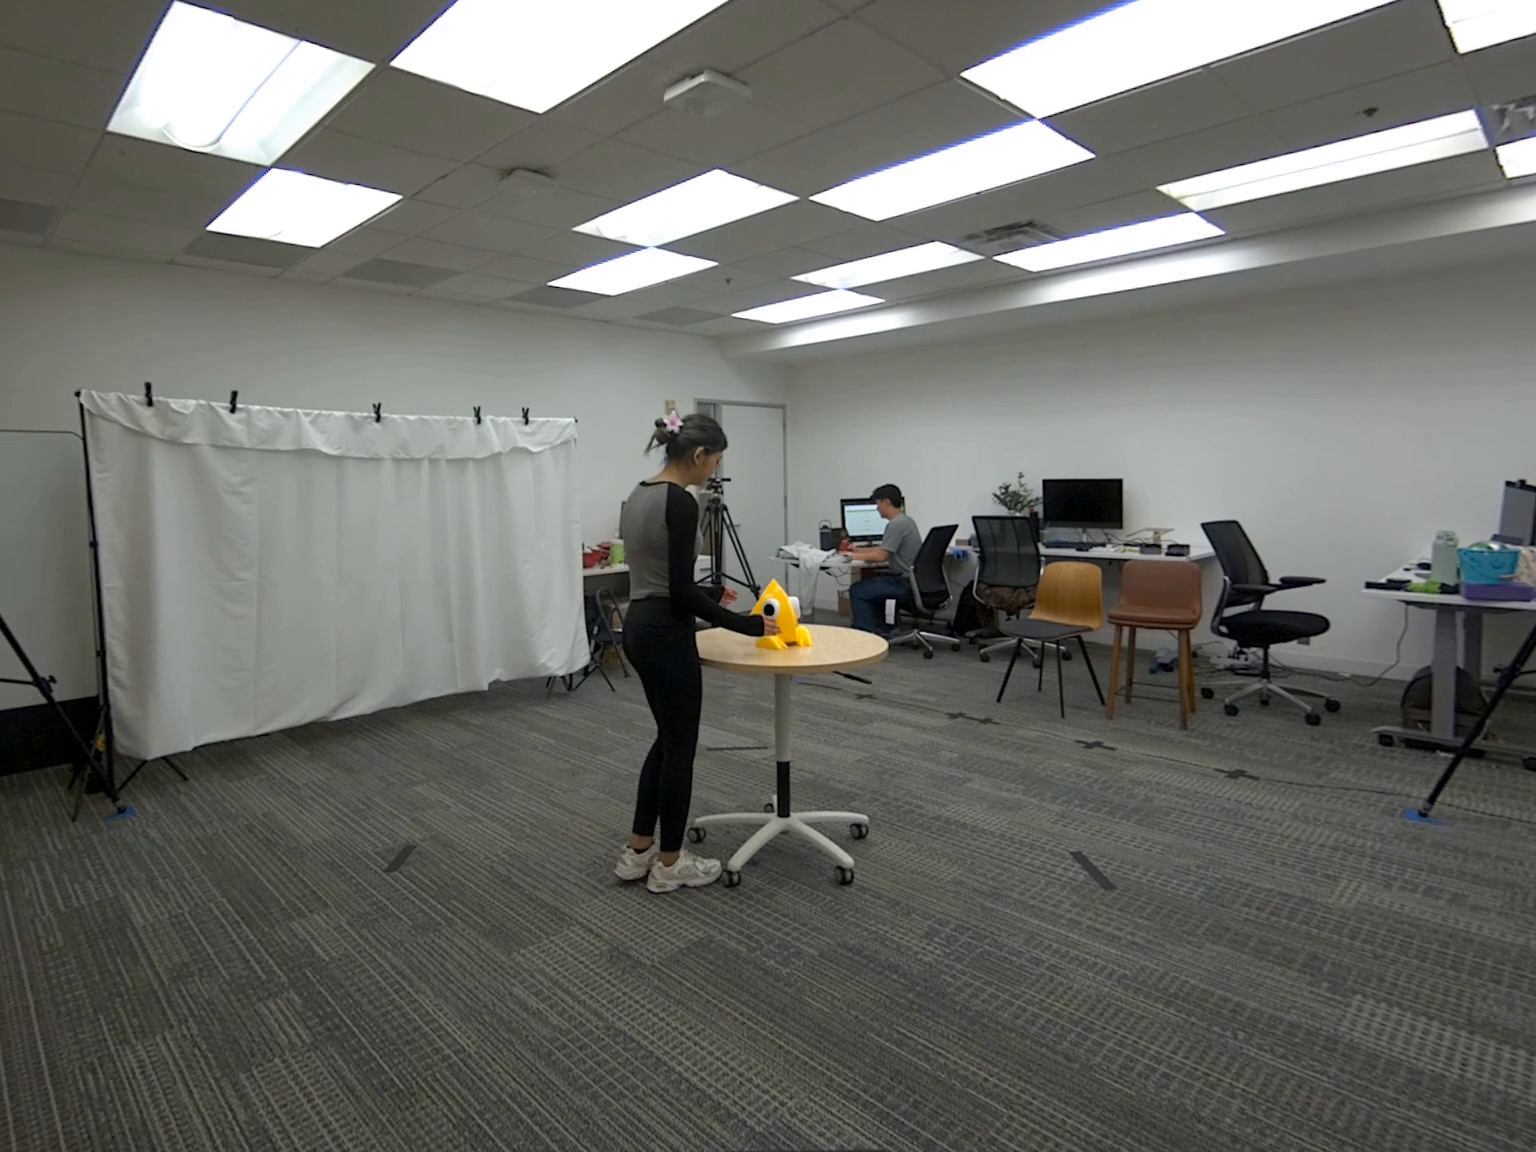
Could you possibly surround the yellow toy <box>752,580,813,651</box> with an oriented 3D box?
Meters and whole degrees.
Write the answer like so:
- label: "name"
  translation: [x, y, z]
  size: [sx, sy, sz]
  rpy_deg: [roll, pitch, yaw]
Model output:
- label: "yellow toy"
  translation: [0.056, 0.133, 3.106]
  size: [0.200, 0.230, 0.198]
  rpy_deg: [-3, 5, -29]
